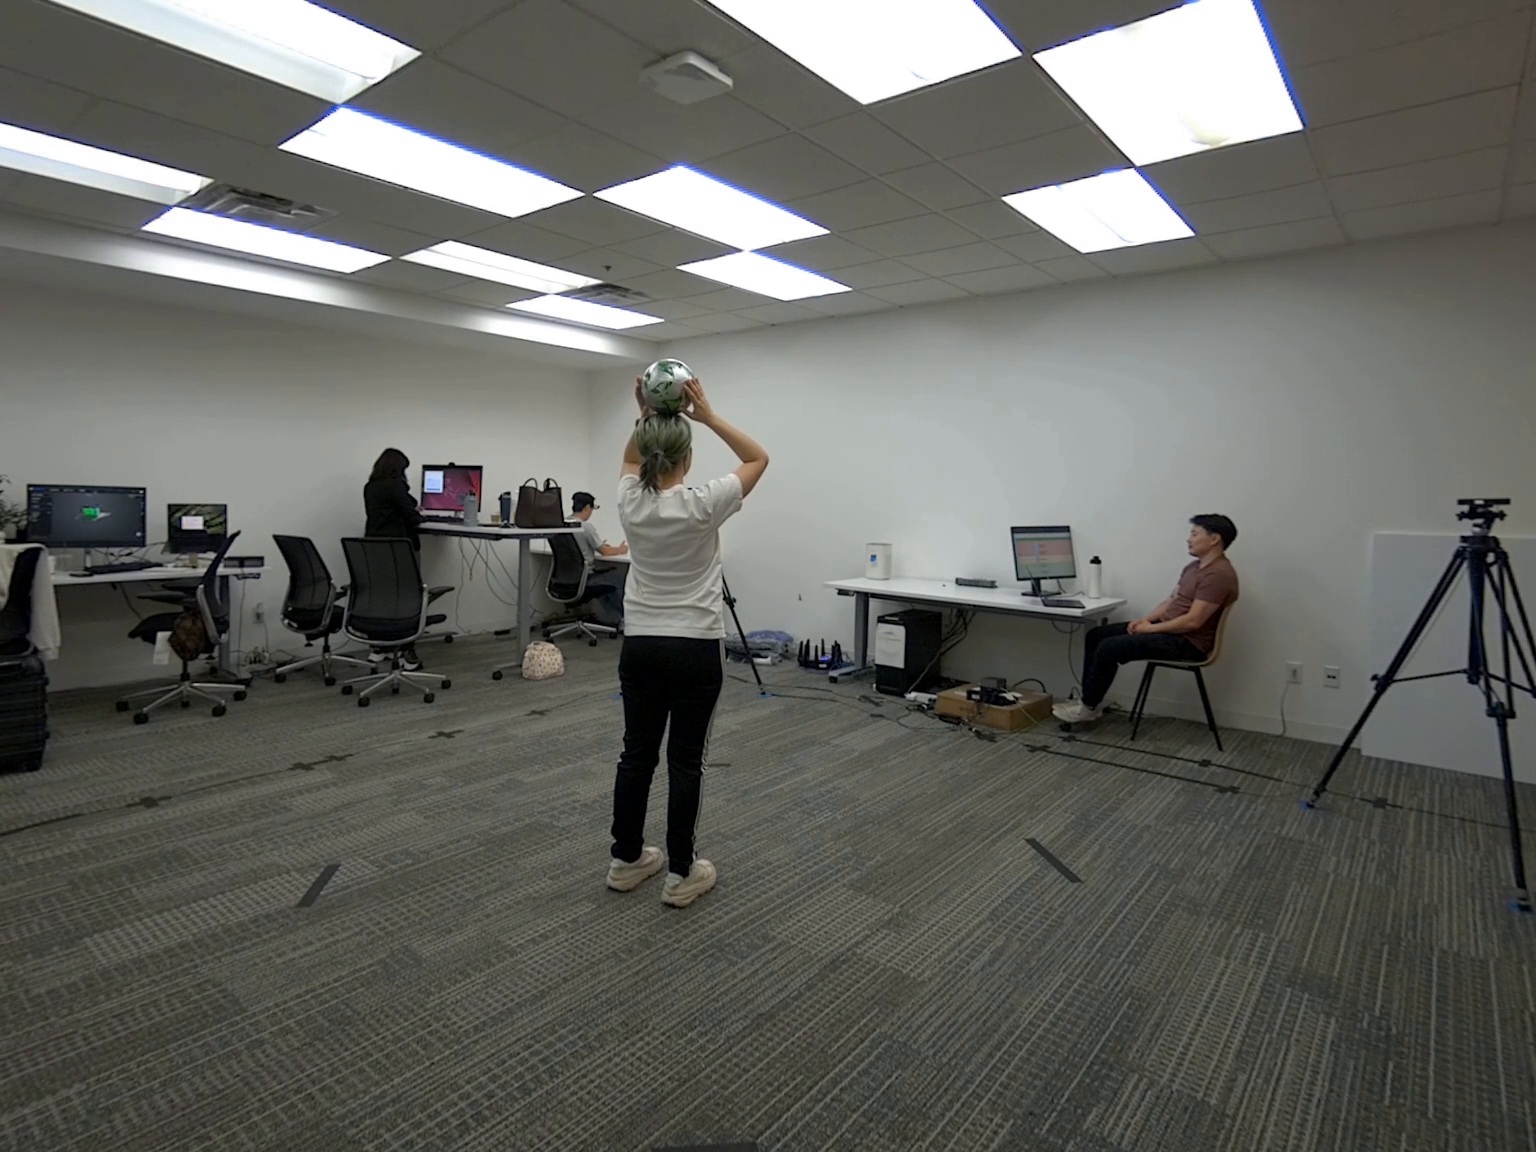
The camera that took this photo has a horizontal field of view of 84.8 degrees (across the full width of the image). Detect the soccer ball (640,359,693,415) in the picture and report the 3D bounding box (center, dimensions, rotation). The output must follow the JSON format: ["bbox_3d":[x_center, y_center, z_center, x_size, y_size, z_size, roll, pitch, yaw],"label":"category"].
[{"bbox_3d":[-0.349,-0.638,2.872,0.187,0.187,0.188,1,4,-2],"label":"soccer ball"}]
